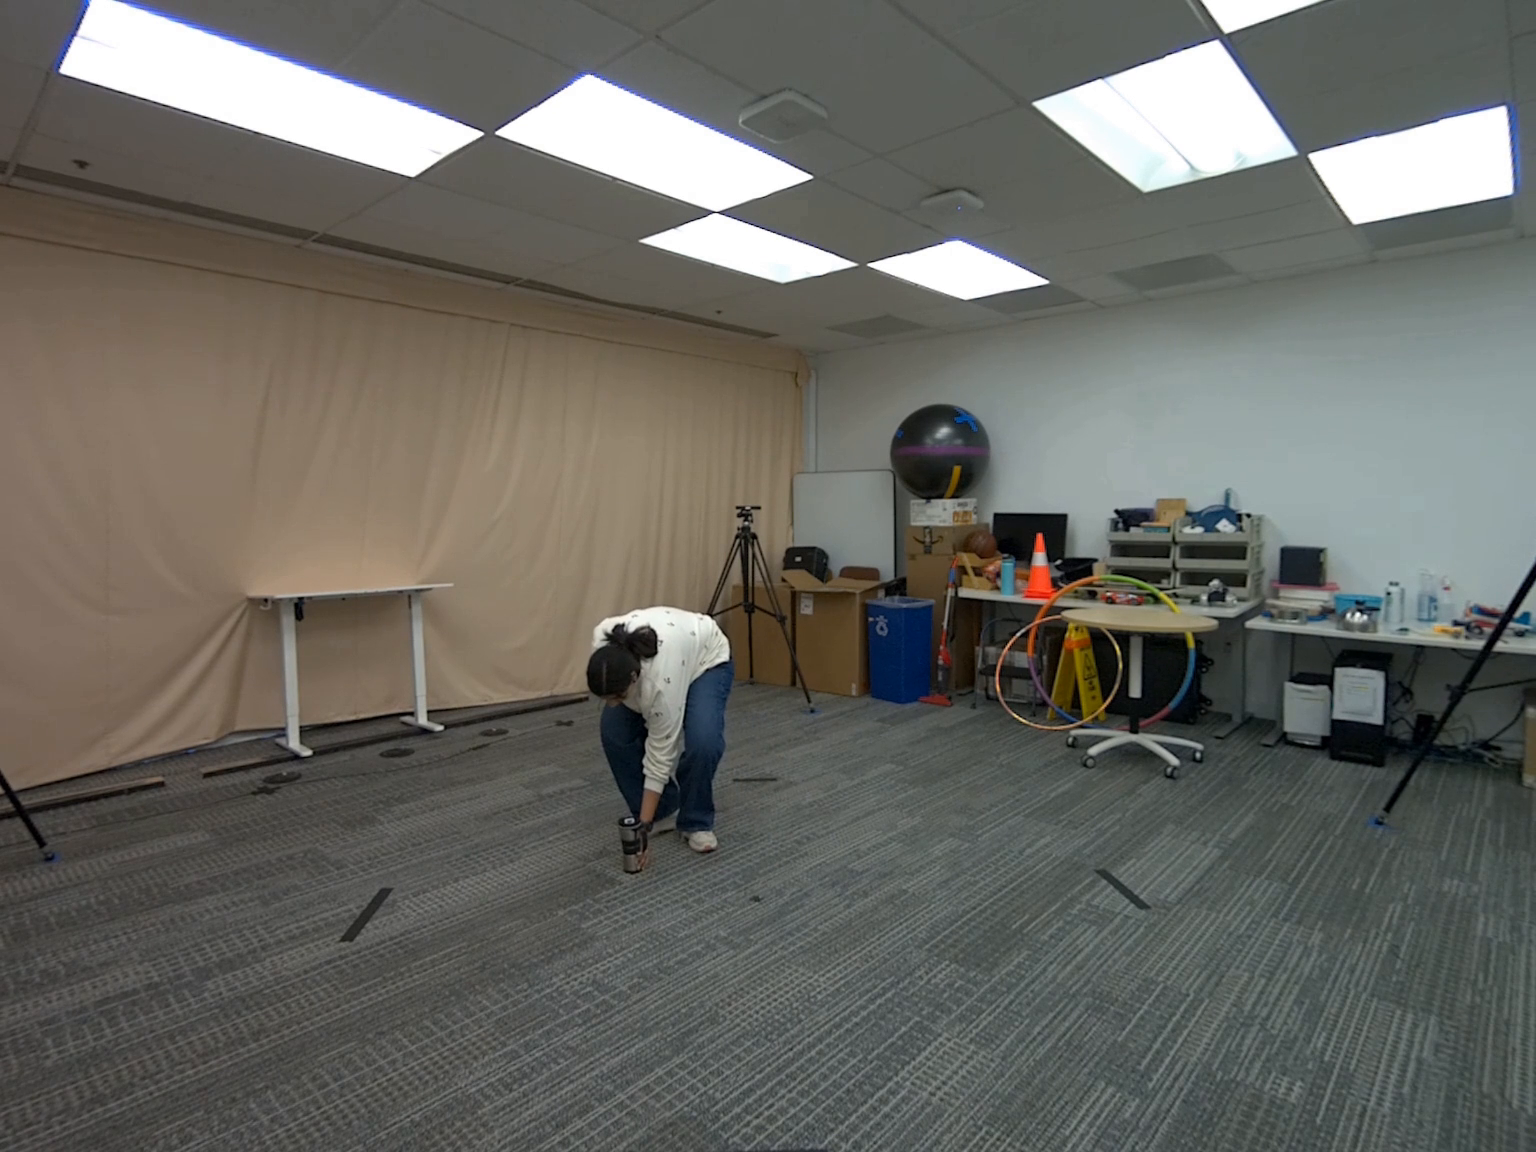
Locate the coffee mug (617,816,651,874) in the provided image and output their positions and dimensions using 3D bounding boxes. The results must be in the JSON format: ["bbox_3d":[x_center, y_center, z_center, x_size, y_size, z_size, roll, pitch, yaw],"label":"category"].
[{"bbox_3d":[-0.512,1.018,3.199,0.085,0.203,0.125,-2,2,-33],"label":"coffee mug"}]
